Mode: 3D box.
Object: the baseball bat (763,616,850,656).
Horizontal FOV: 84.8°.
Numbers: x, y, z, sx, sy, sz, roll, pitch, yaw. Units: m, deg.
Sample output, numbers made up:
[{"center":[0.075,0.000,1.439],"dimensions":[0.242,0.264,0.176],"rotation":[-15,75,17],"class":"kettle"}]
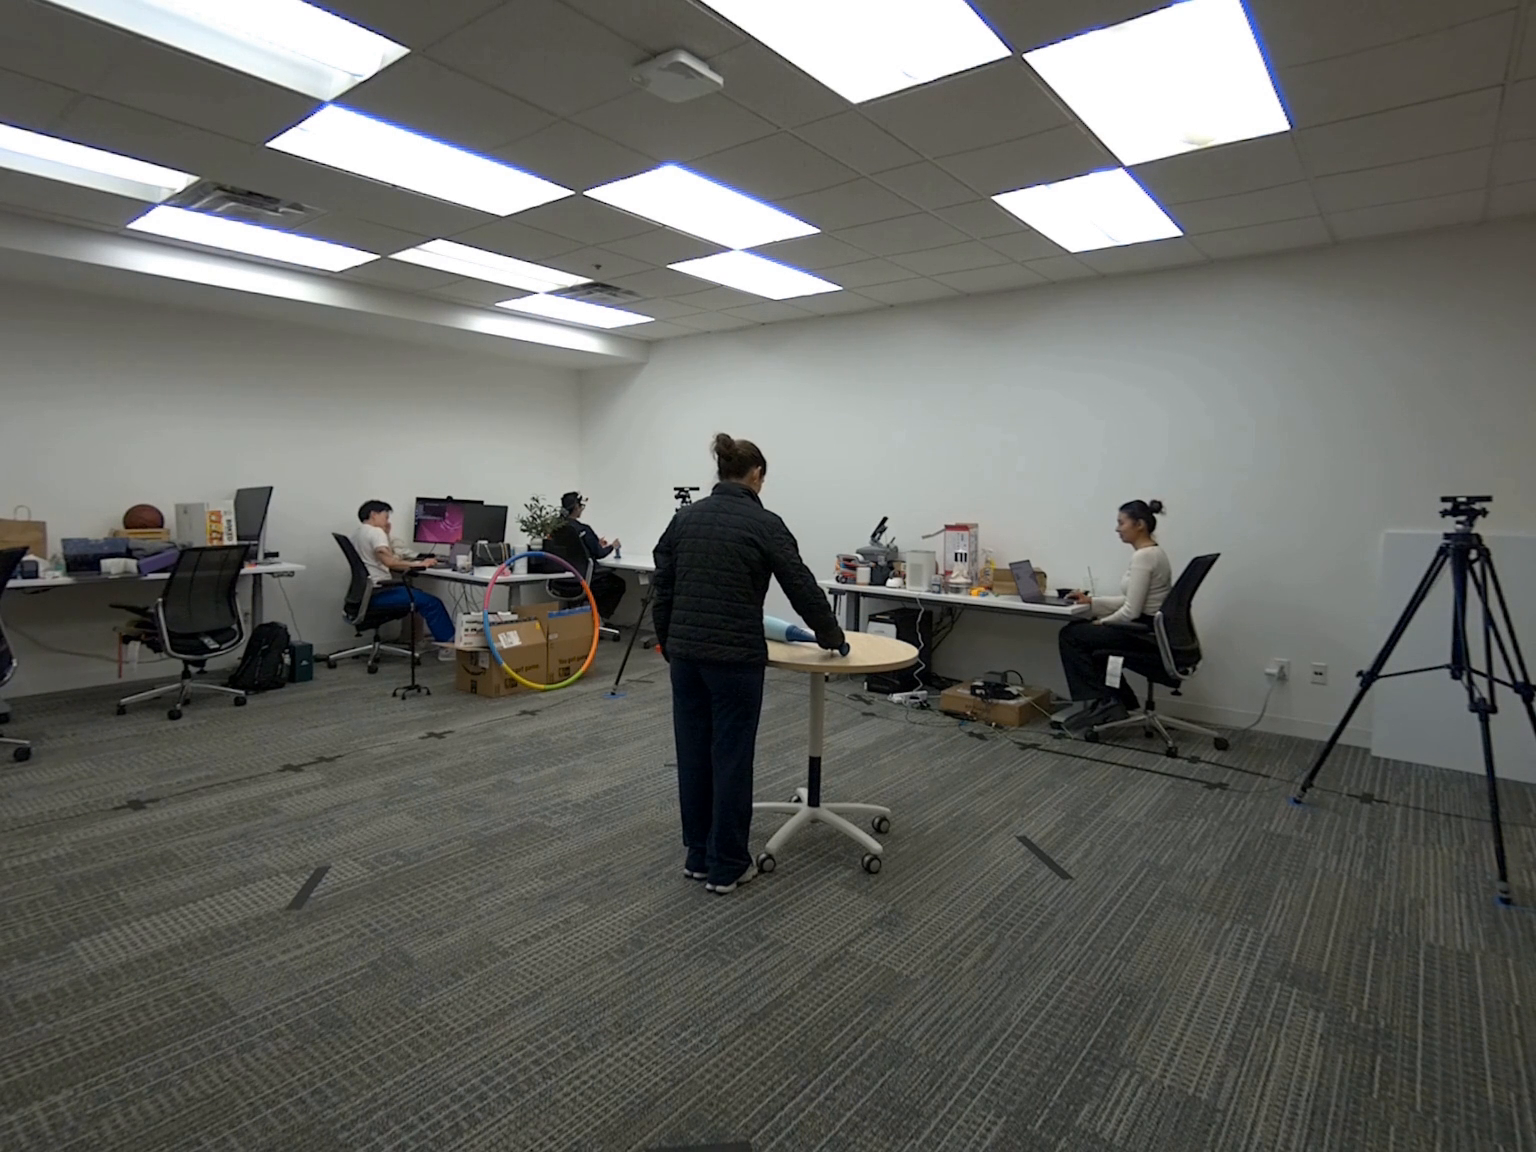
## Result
[{"center":[0.123,0.224,3.342],"dimensions":[0.086,0.088,0.563],"rotation":[-3,10,-40],"class":"baseball bat"}]
